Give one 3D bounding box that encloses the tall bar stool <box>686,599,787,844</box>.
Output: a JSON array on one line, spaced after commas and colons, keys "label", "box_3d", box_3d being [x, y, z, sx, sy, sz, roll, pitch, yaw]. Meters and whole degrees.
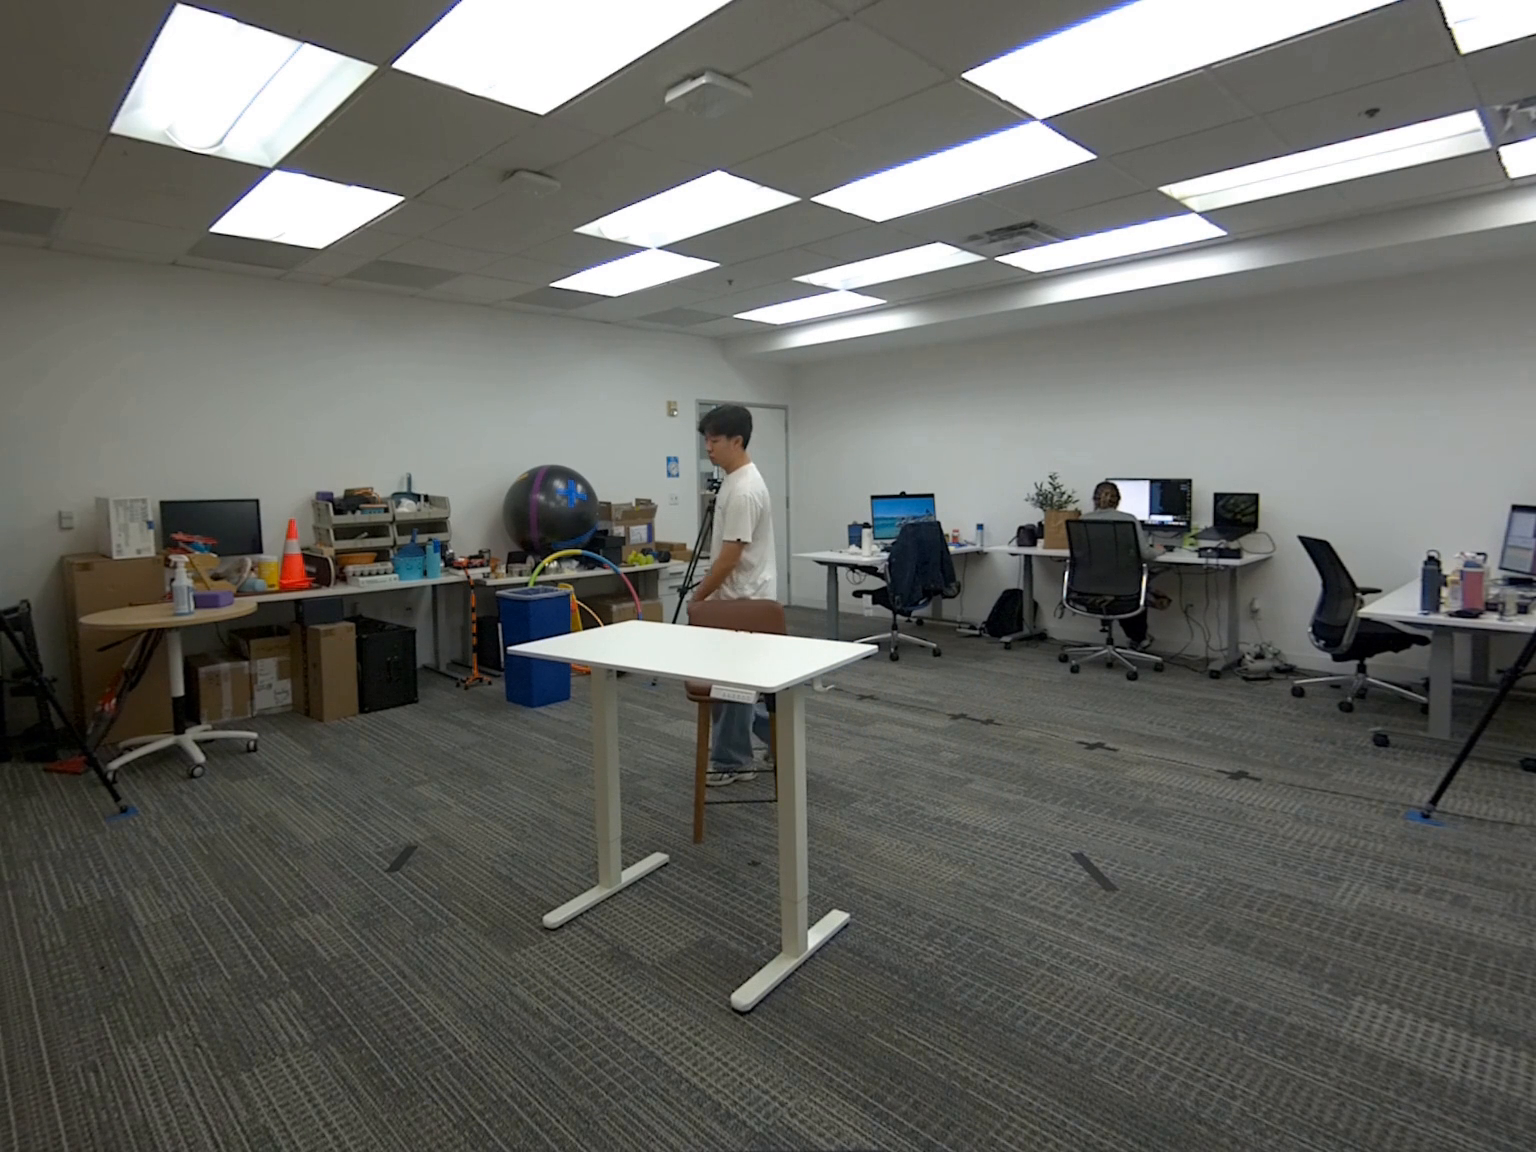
[{"label": "tall bar stool", "box_3d": [-0.099, 0.567, 3.495, 0.455, 0.889, 0.470, -1, 2, -4]}]
